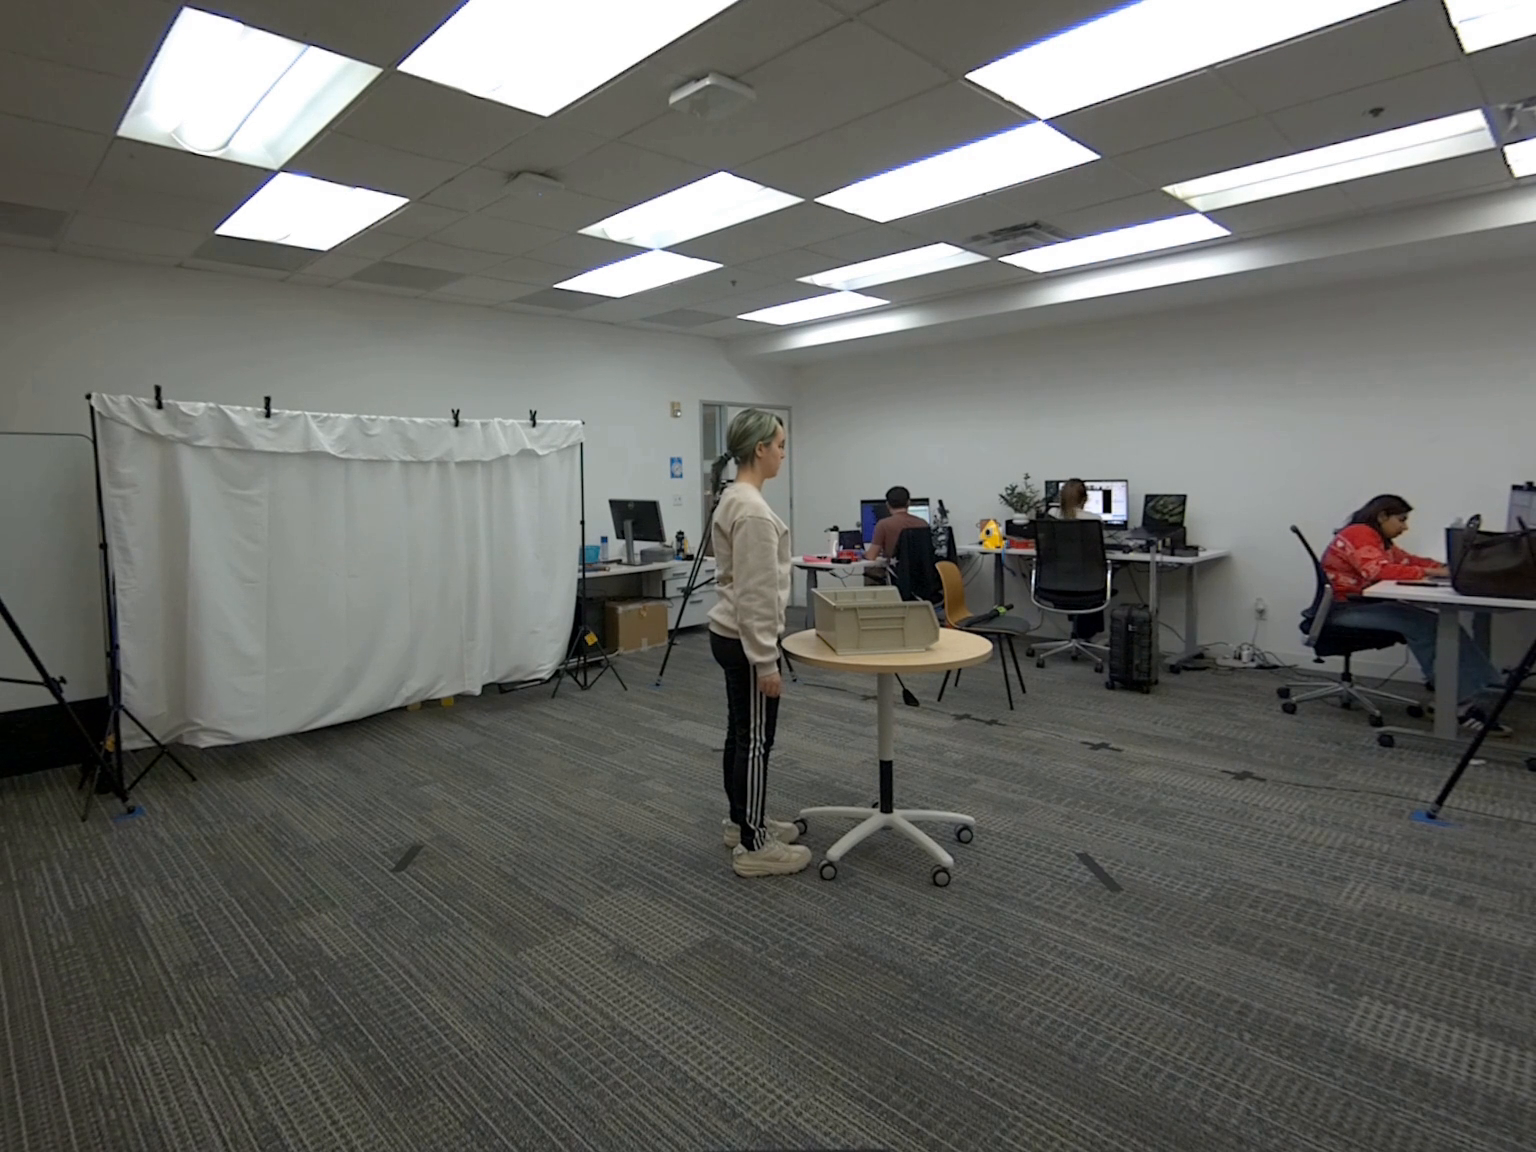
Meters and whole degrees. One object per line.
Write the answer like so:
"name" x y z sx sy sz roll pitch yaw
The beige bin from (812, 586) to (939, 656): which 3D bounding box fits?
"beige bin" 0.381 0.159 3.169 0.375 0.188 0.427 -3 7 -7
